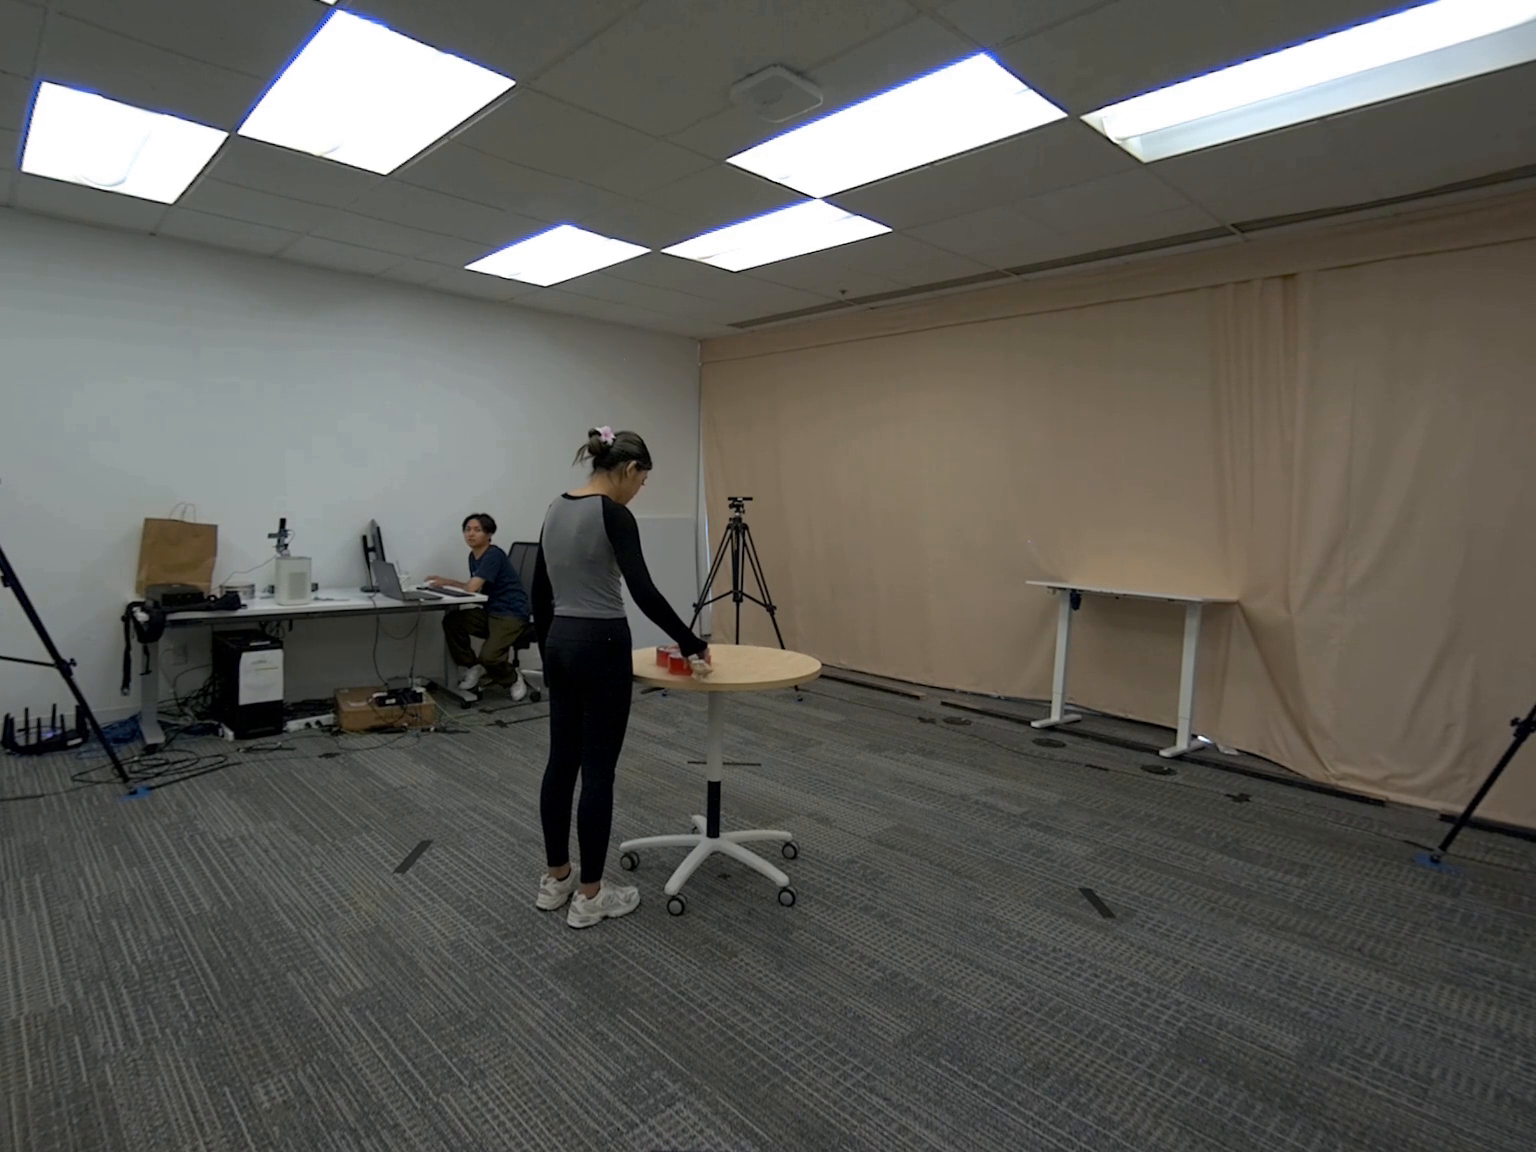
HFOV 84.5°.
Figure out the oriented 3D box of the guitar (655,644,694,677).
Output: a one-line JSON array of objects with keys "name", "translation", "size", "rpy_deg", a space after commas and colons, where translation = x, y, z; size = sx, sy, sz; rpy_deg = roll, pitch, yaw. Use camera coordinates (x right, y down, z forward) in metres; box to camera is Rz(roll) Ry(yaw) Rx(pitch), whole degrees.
[{"name": "guitar", "translation": [-0.295, 0.301, 2.838], "size": [0.192, 0.070, 0.501], "rpy_deg": [0, 4, -6]}]
